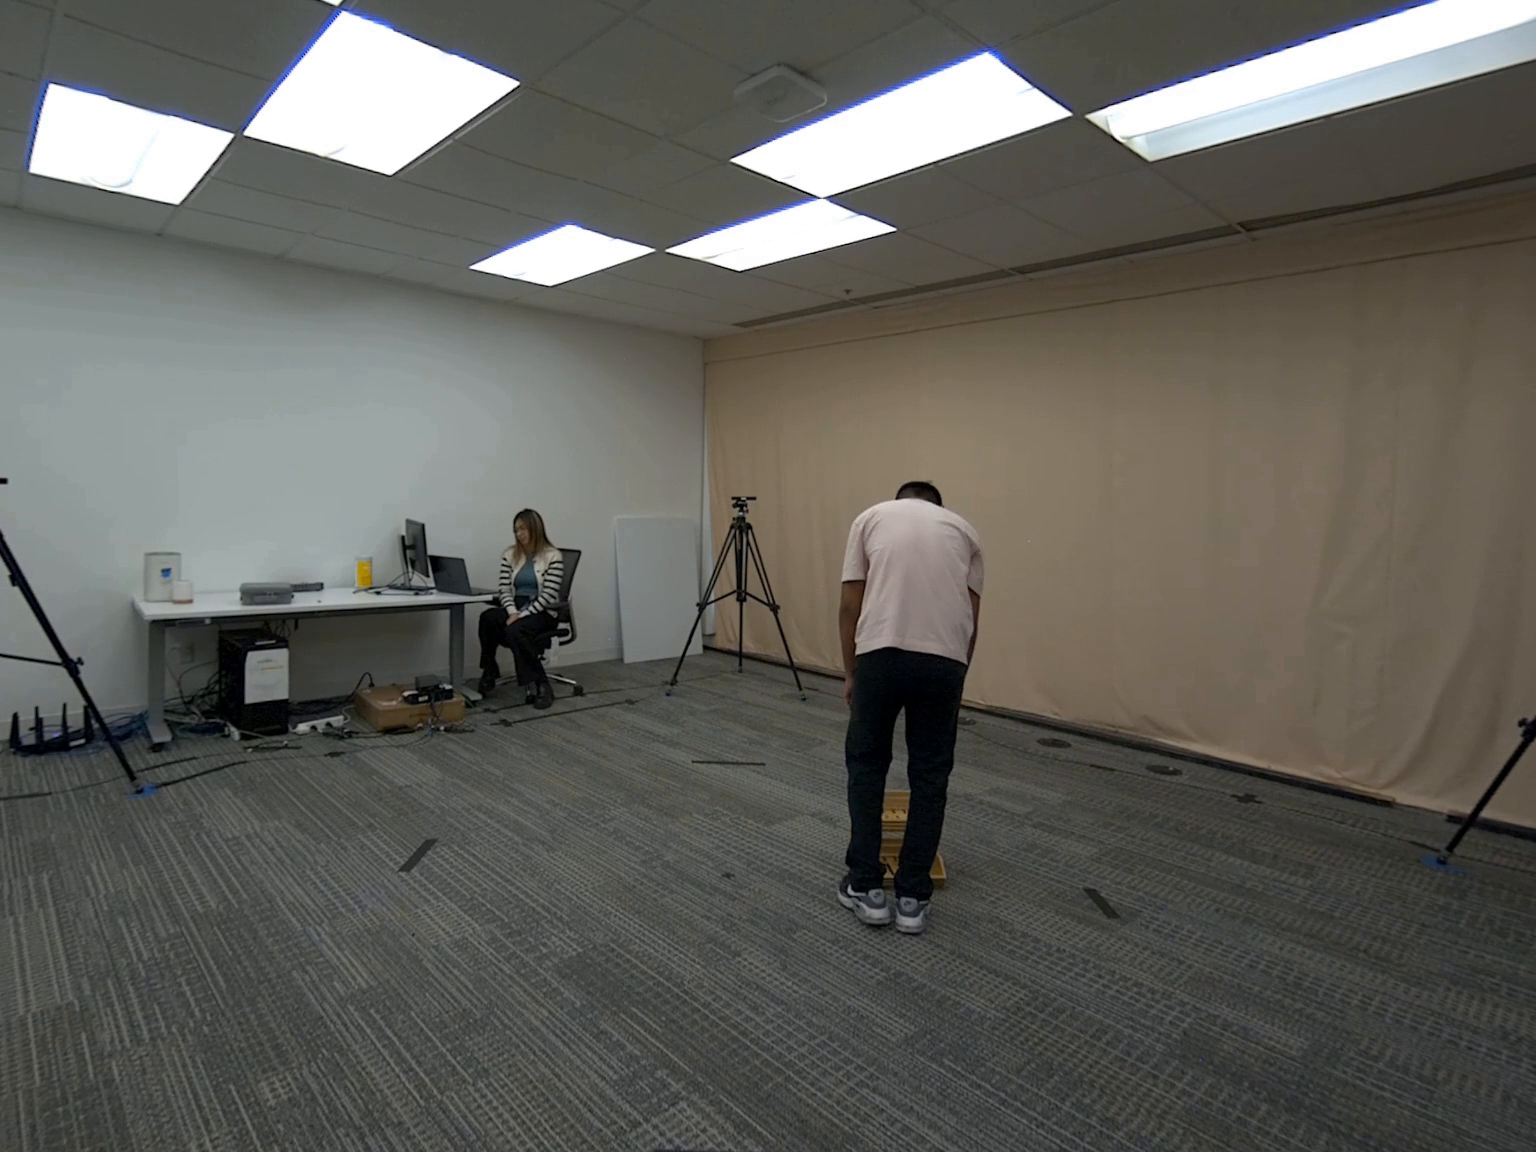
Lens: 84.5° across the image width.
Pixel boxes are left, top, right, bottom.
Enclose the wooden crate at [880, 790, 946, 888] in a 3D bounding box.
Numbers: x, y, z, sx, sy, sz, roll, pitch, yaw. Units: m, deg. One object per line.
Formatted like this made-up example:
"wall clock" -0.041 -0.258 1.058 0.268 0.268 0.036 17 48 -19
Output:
"wooden crate" 0.487 0.989 3.161 0.323 0.273 0.304 1 3 -5
